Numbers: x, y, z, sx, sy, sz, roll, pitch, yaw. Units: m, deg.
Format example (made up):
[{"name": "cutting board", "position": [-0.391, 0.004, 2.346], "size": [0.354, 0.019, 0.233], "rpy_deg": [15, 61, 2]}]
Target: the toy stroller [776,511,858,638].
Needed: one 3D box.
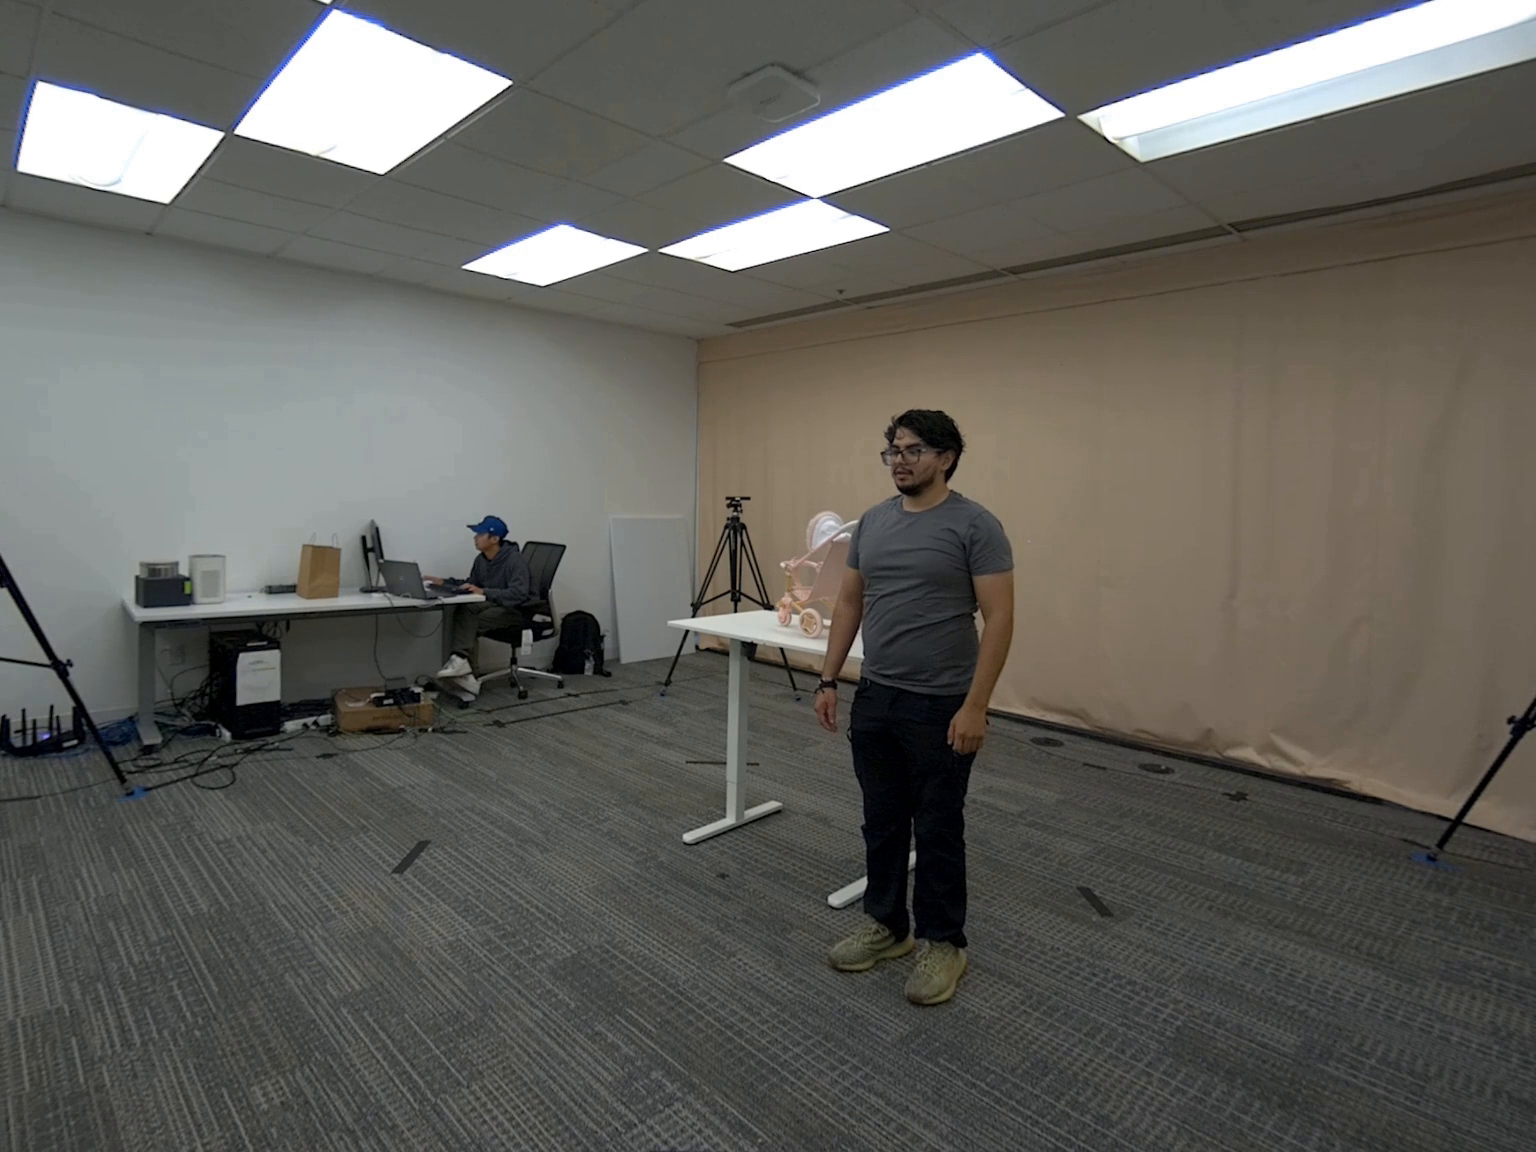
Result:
[{"name": "toy stroller", "position": [0.202, -0.005, 3.233], "size": [0.275, 0.530, 0.352], "rpy_deg": [-1, 19, -39]}]
